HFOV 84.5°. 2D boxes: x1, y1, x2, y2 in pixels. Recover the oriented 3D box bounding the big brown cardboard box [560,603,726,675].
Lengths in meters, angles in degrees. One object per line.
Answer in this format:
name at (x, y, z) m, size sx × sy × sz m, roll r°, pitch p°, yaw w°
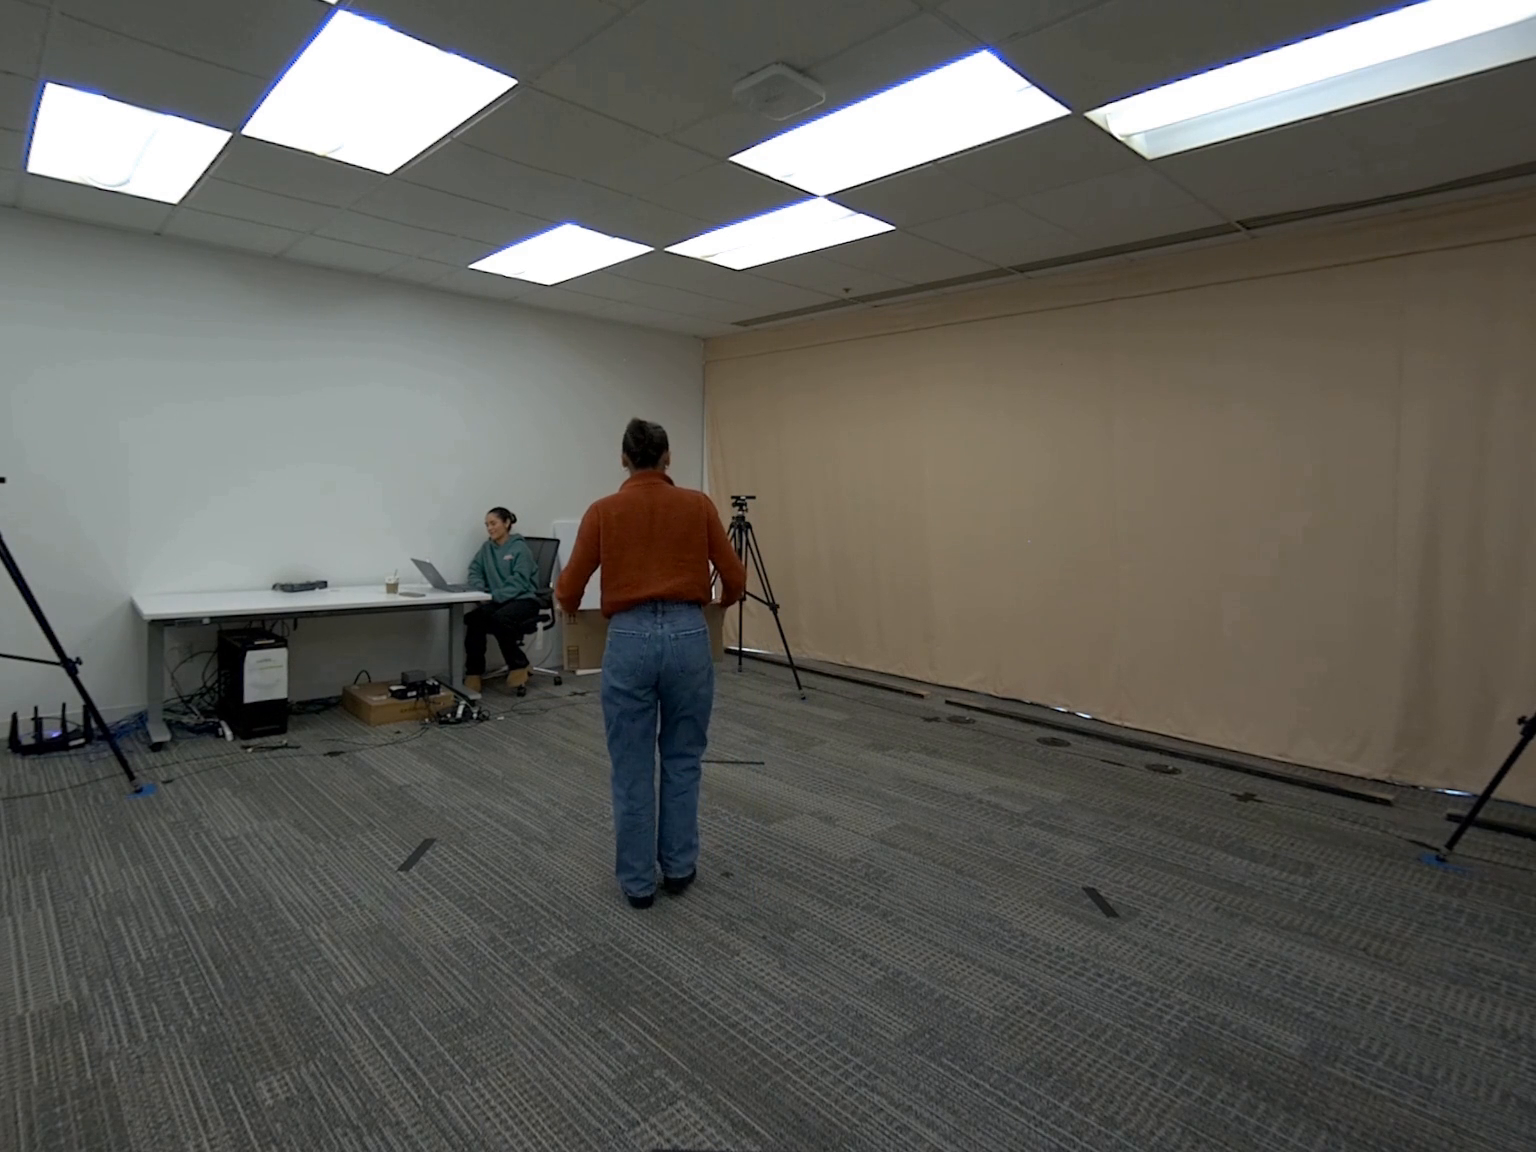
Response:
big brown cardboard box at (-0.468, 0.226, 3.199) m, size 0.585 × 0.234 × 0.418 m, roll -2°, pitch -4°, yaw -8°
